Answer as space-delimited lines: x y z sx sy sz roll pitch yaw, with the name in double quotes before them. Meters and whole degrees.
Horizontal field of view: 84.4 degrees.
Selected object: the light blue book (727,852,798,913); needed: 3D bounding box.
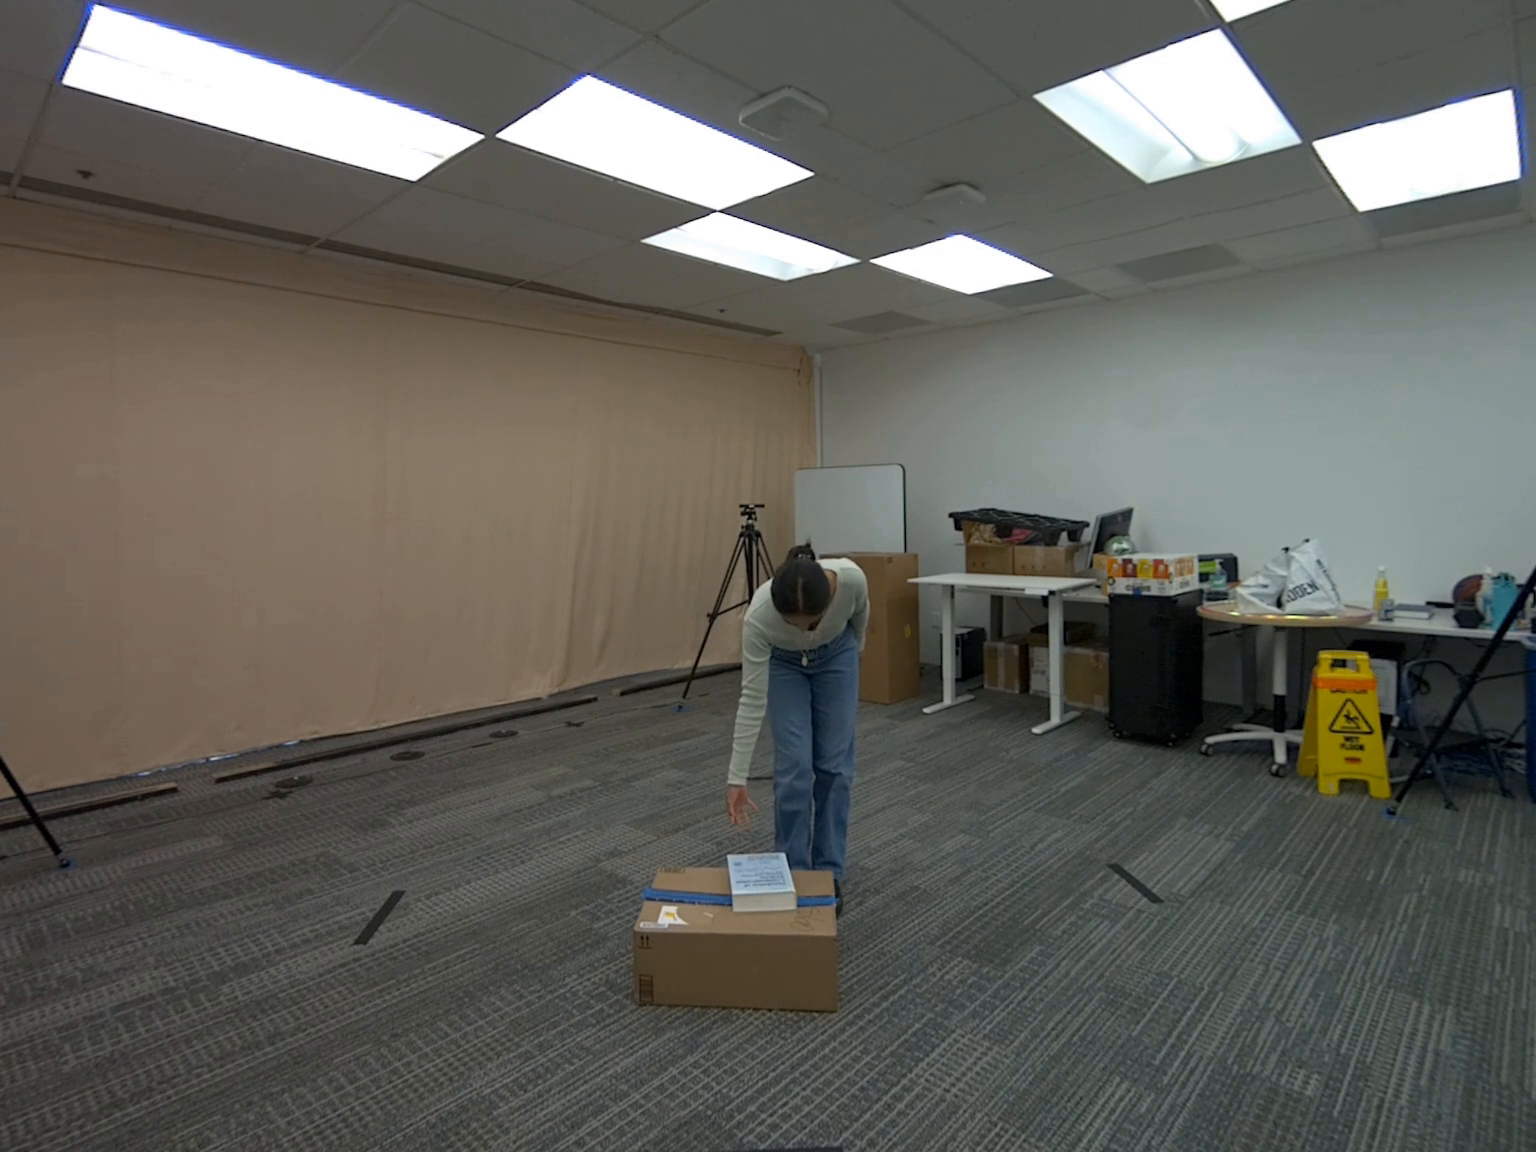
"light blue book" -0.023 0.932 2.578 0.191 0.059 0.262 -2 6 -3
